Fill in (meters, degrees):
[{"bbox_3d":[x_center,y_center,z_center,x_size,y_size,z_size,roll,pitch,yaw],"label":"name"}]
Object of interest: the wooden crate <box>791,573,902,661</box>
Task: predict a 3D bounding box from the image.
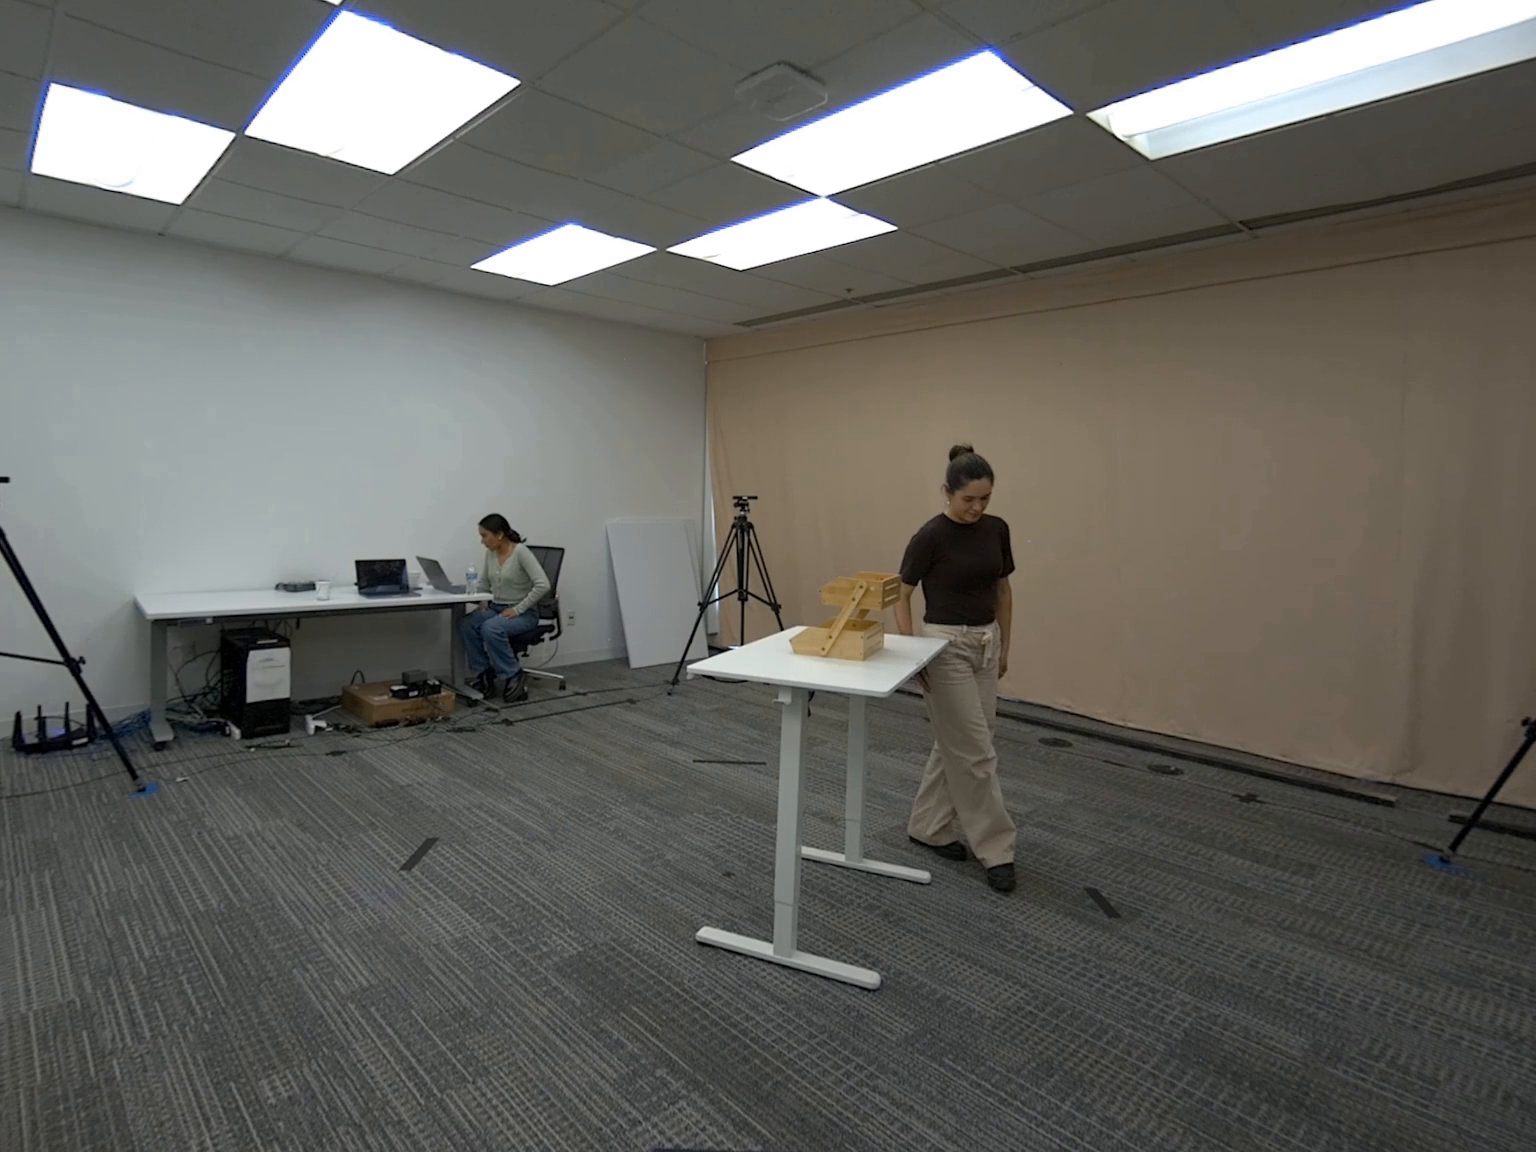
[{"bbox_3d":[0.258,0.124,2.837,0.307,0.272,0.320,5,5,21],"label":"wooden crate"}]
